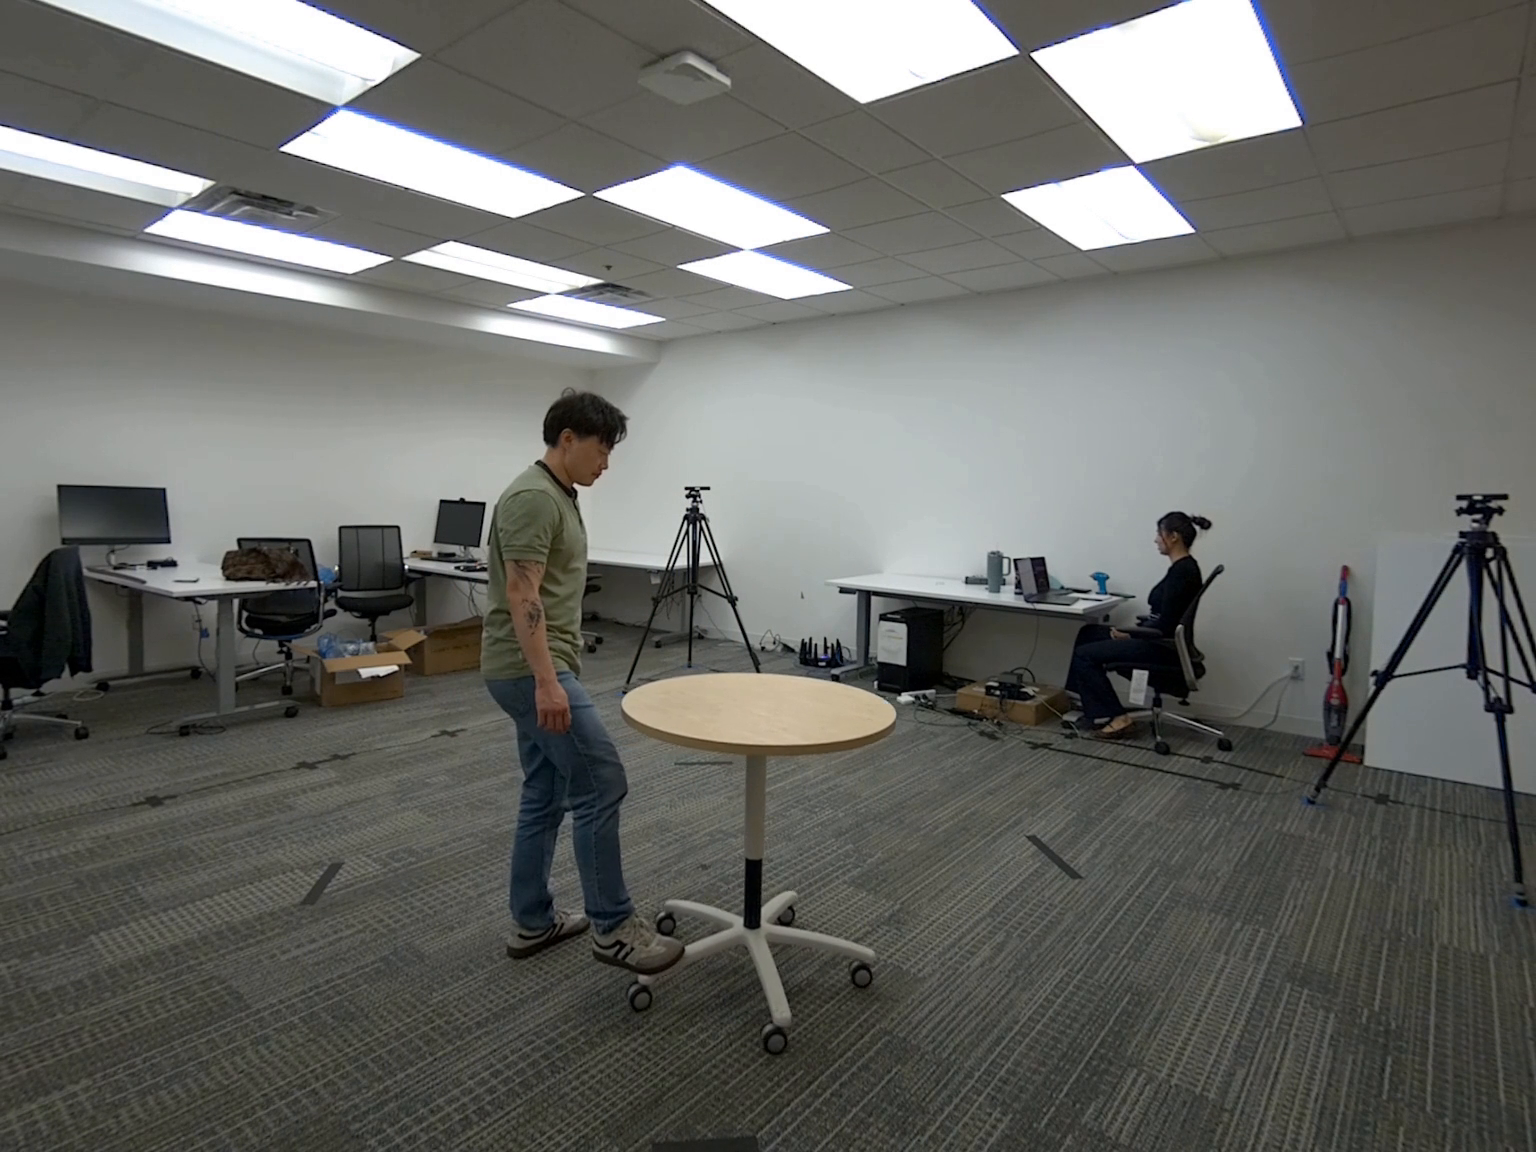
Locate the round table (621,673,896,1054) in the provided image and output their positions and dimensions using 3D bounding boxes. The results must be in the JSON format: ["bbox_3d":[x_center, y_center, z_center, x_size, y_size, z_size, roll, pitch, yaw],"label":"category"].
[{"bbox_3d":[-0.047,0.751,2.413,0.763,0.791,0.768,1,4,-2],"label":"round table"}]
